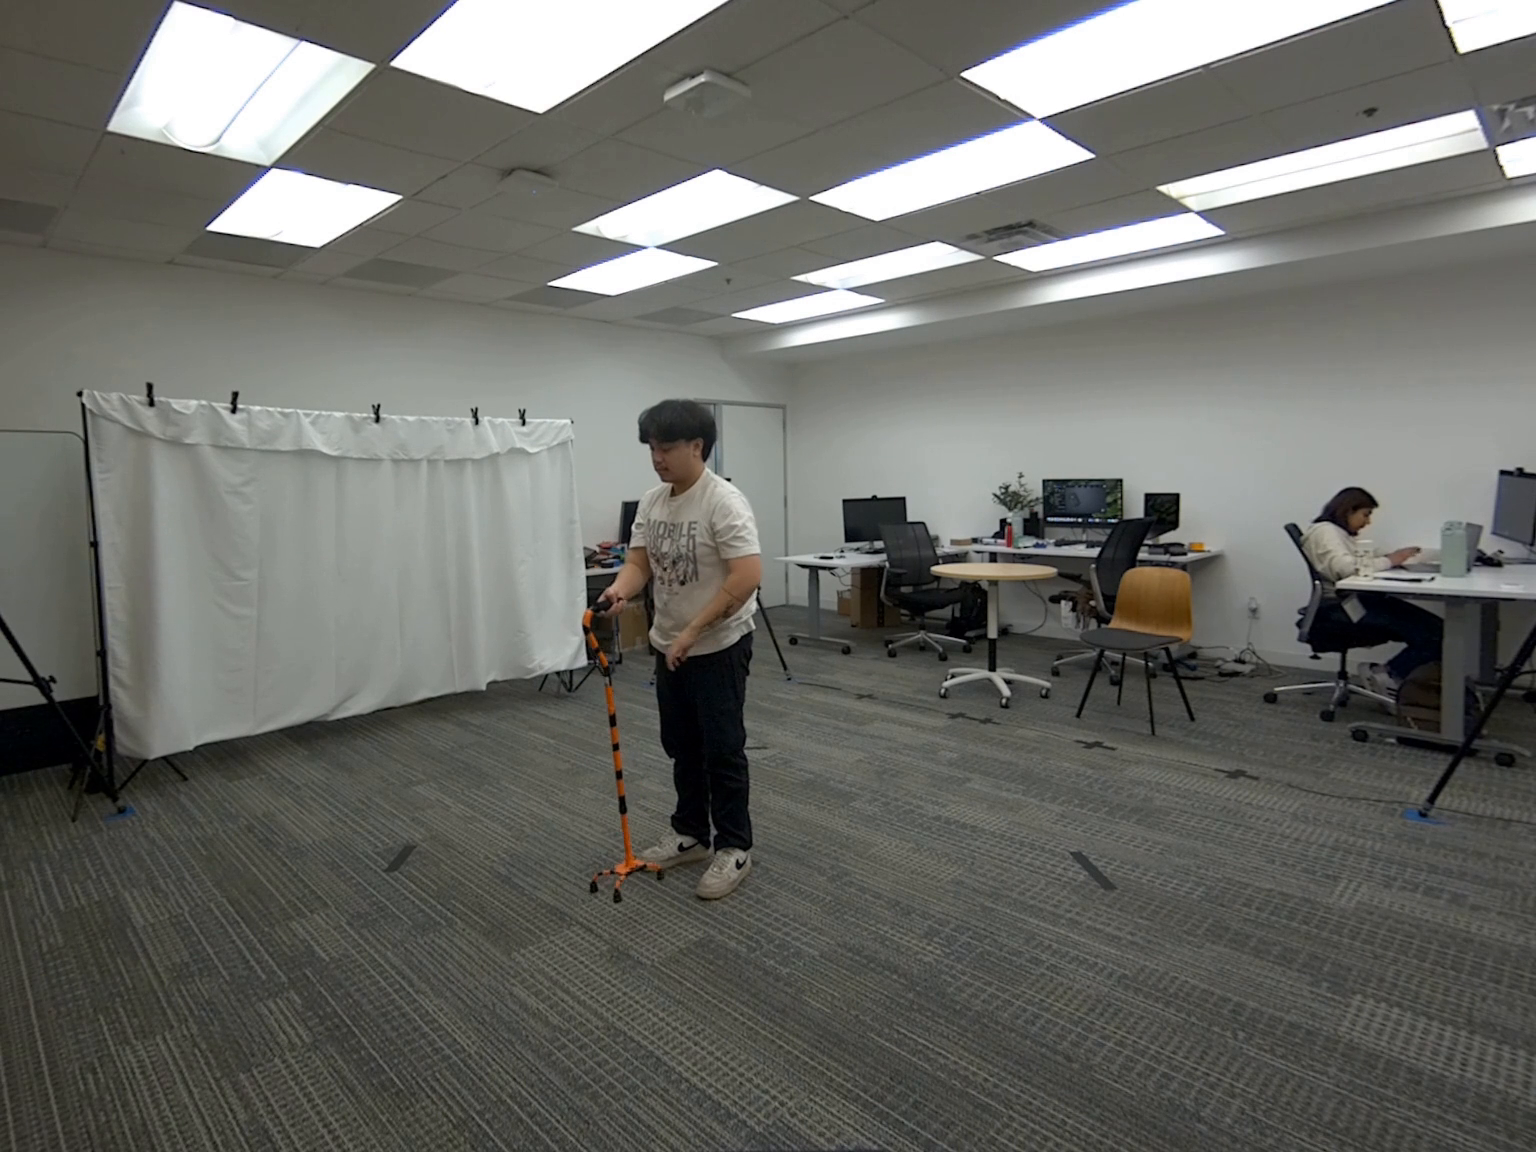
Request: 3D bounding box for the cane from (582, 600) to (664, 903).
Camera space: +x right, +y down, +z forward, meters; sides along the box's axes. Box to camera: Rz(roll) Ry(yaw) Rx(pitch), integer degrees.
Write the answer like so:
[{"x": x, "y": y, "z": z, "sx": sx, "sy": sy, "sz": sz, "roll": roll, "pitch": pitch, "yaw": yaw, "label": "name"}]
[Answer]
[{"x": -0.495, "y": 0.542, "z": 2.707, "sx": 0.156, "sy": 0.906, "sz": 0.201, "roll": -3, "pitch": 3, "yaw": 39, "label": "cane"}]
